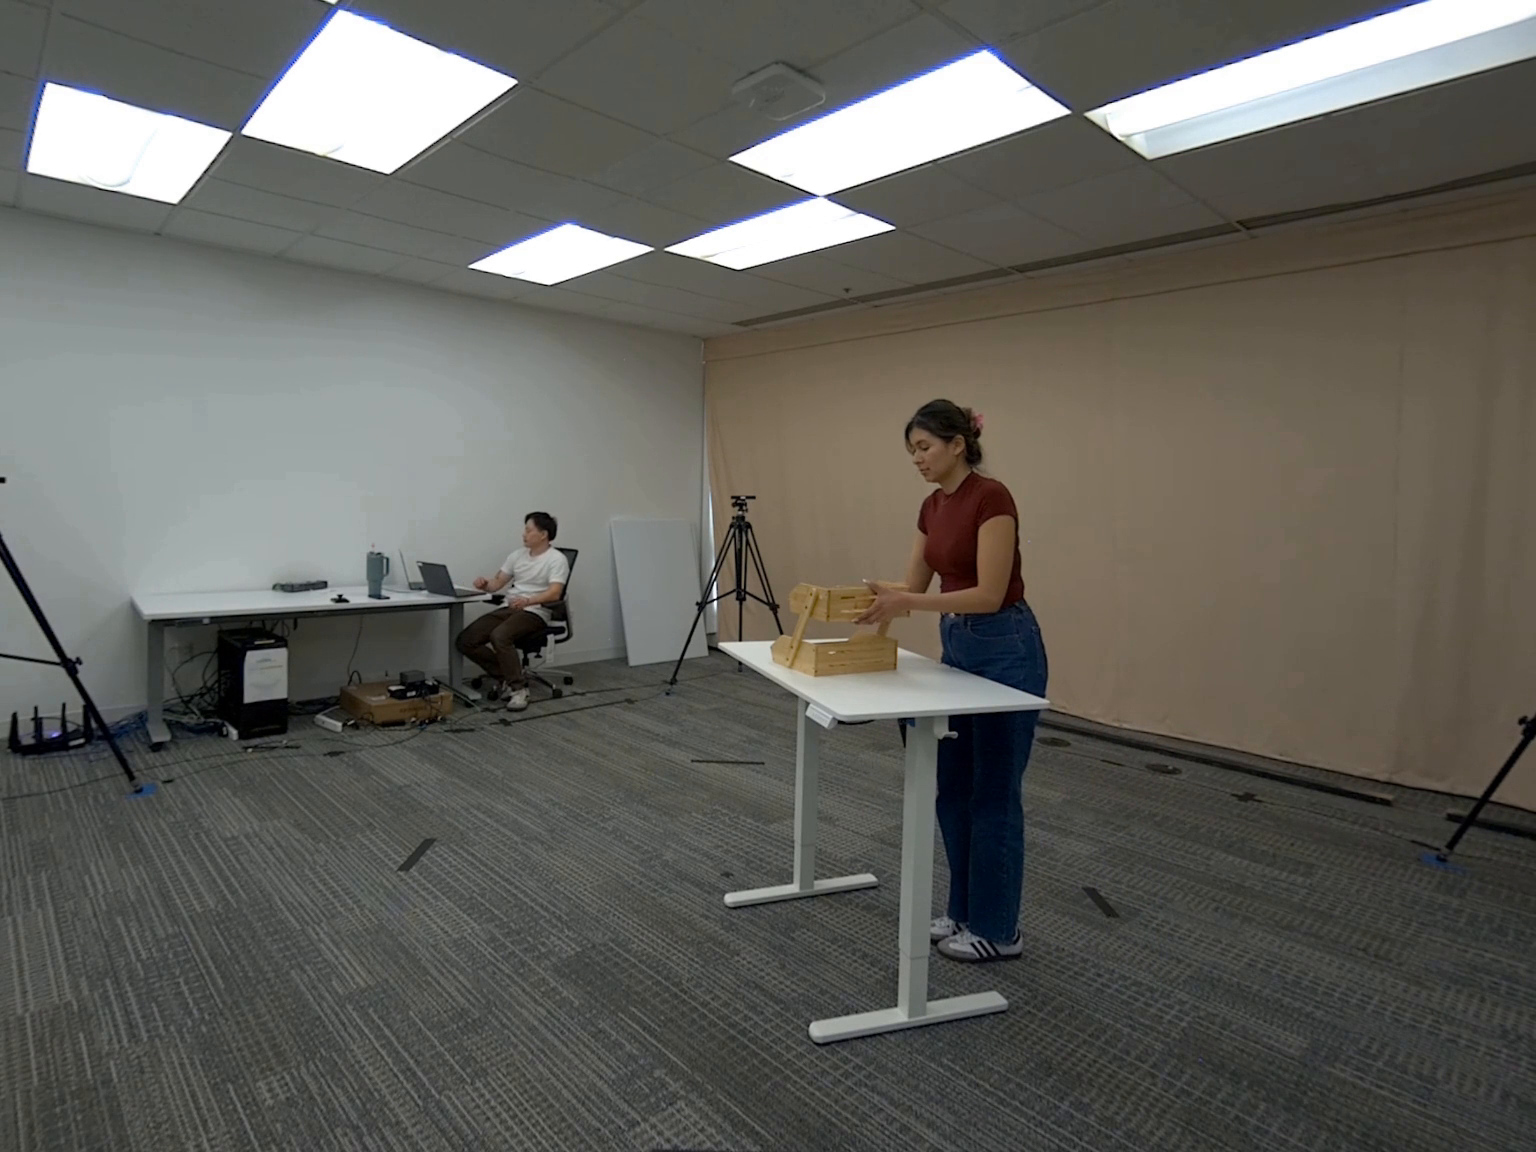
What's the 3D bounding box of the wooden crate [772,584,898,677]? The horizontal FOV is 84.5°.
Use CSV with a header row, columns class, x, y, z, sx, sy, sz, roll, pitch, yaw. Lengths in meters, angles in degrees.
class,x,y,z,sx,sy,sz,roll,pitch,yaw
wooden crate,0.214,0.146,2.562,0.318,0.272,0.309,-1,6,-30
